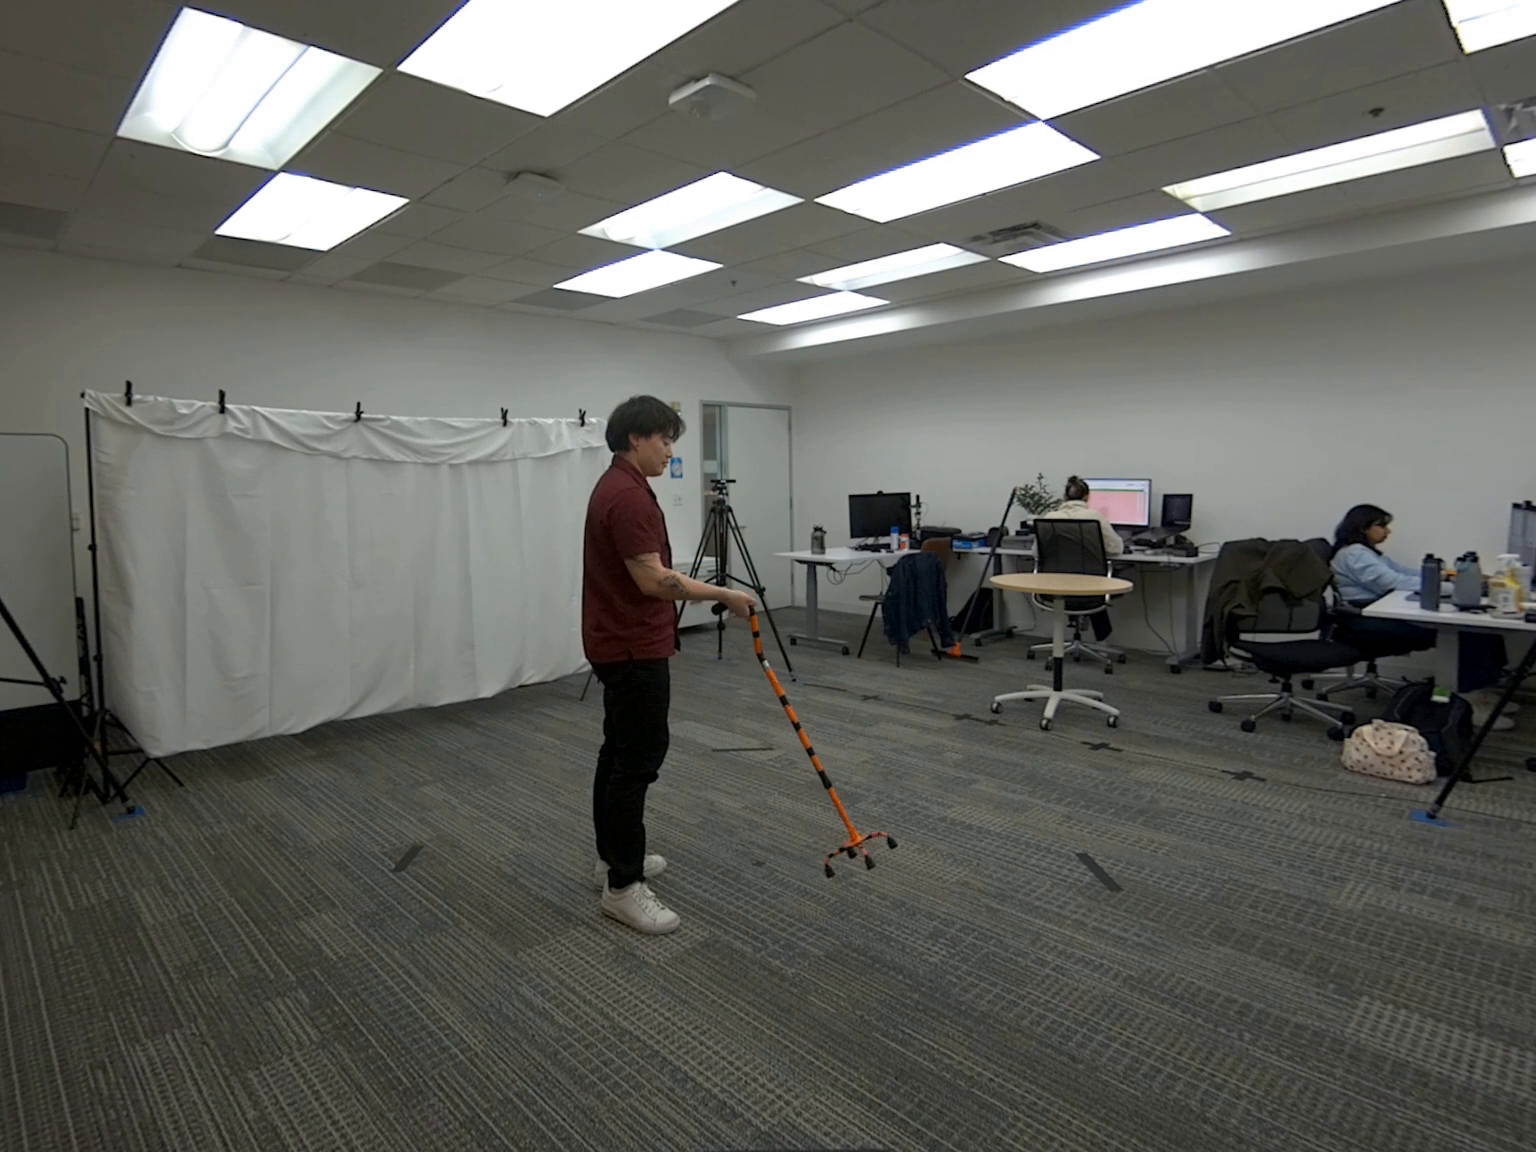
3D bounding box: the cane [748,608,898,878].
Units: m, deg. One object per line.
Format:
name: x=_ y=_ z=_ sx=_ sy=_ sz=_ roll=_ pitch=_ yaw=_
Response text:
cane: x=0.082 y=0.473 z=2.673 sx=0.149 sy=0.917 sz=0.208 roll=-20 pitch=-11 yaw=-41
